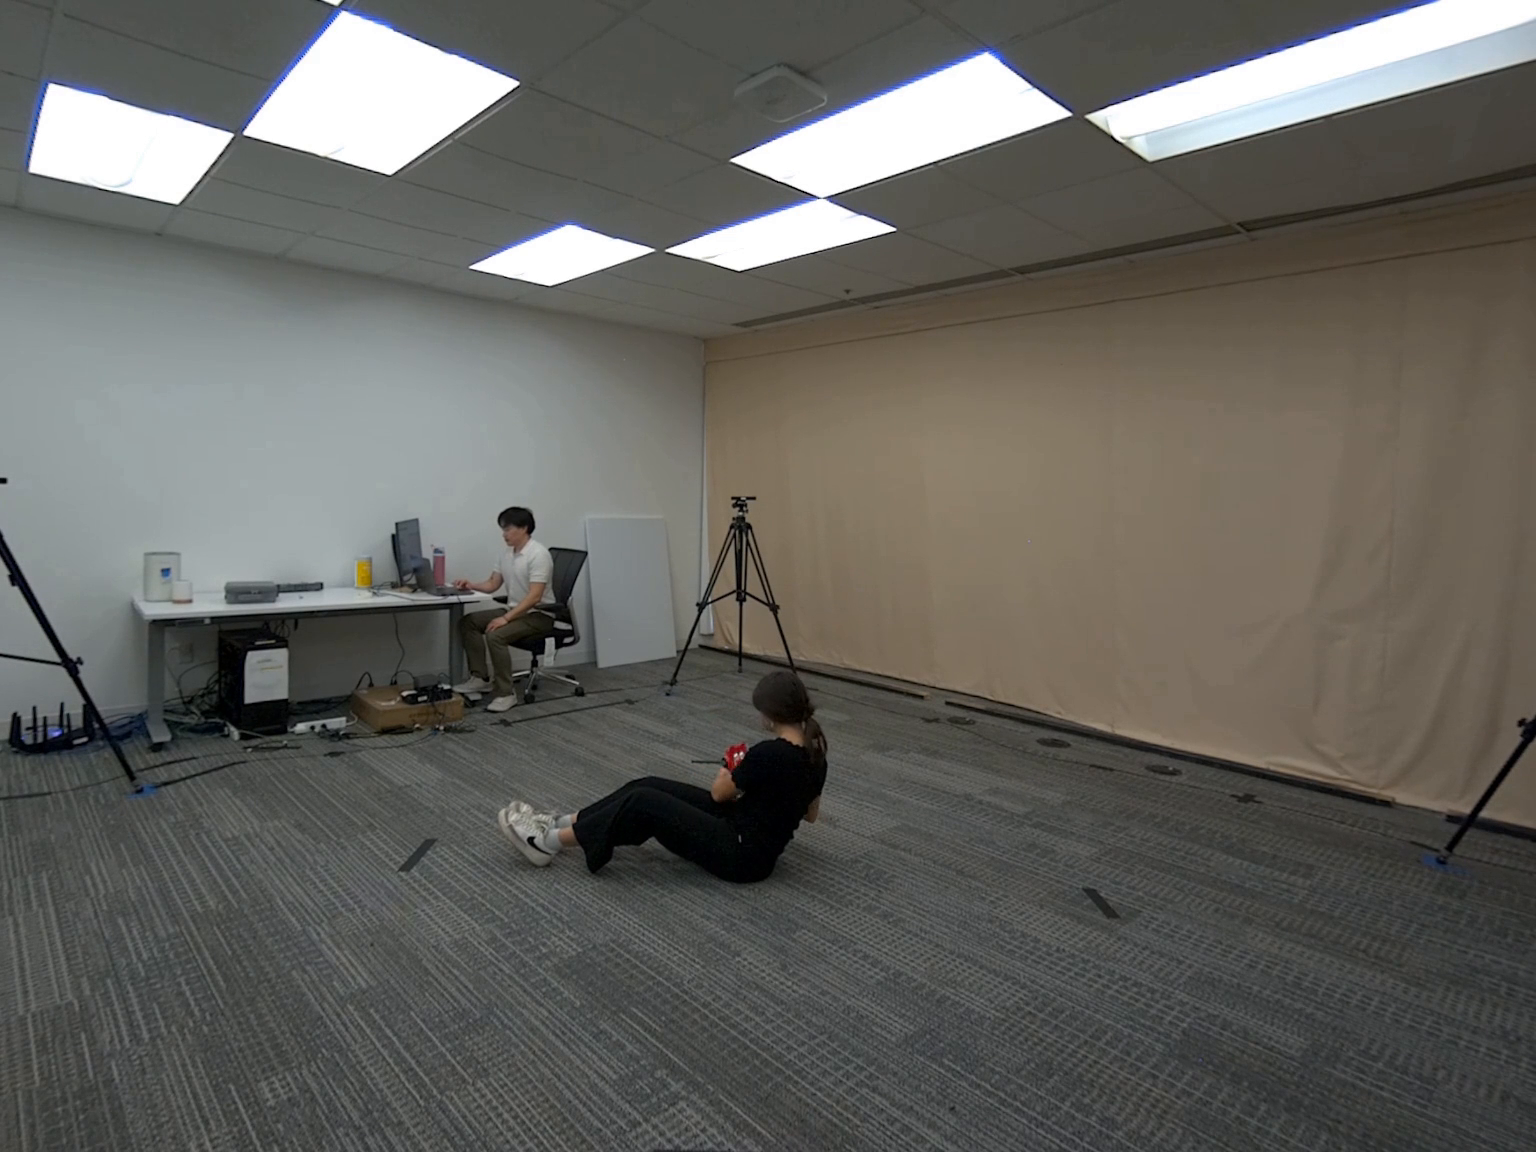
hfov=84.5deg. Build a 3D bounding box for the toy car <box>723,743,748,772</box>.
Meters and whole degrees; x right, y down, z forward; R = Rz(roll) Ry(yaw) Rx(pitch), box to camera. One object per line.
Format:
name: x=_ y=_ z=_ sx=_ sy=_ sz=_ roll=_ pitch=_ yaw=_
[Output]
toy car: x=-0.135 y=0.821 z=3.522 sx=0.128 sy=0.252 sz=0.085 roll=-7 pitch=15 yaw=-32
